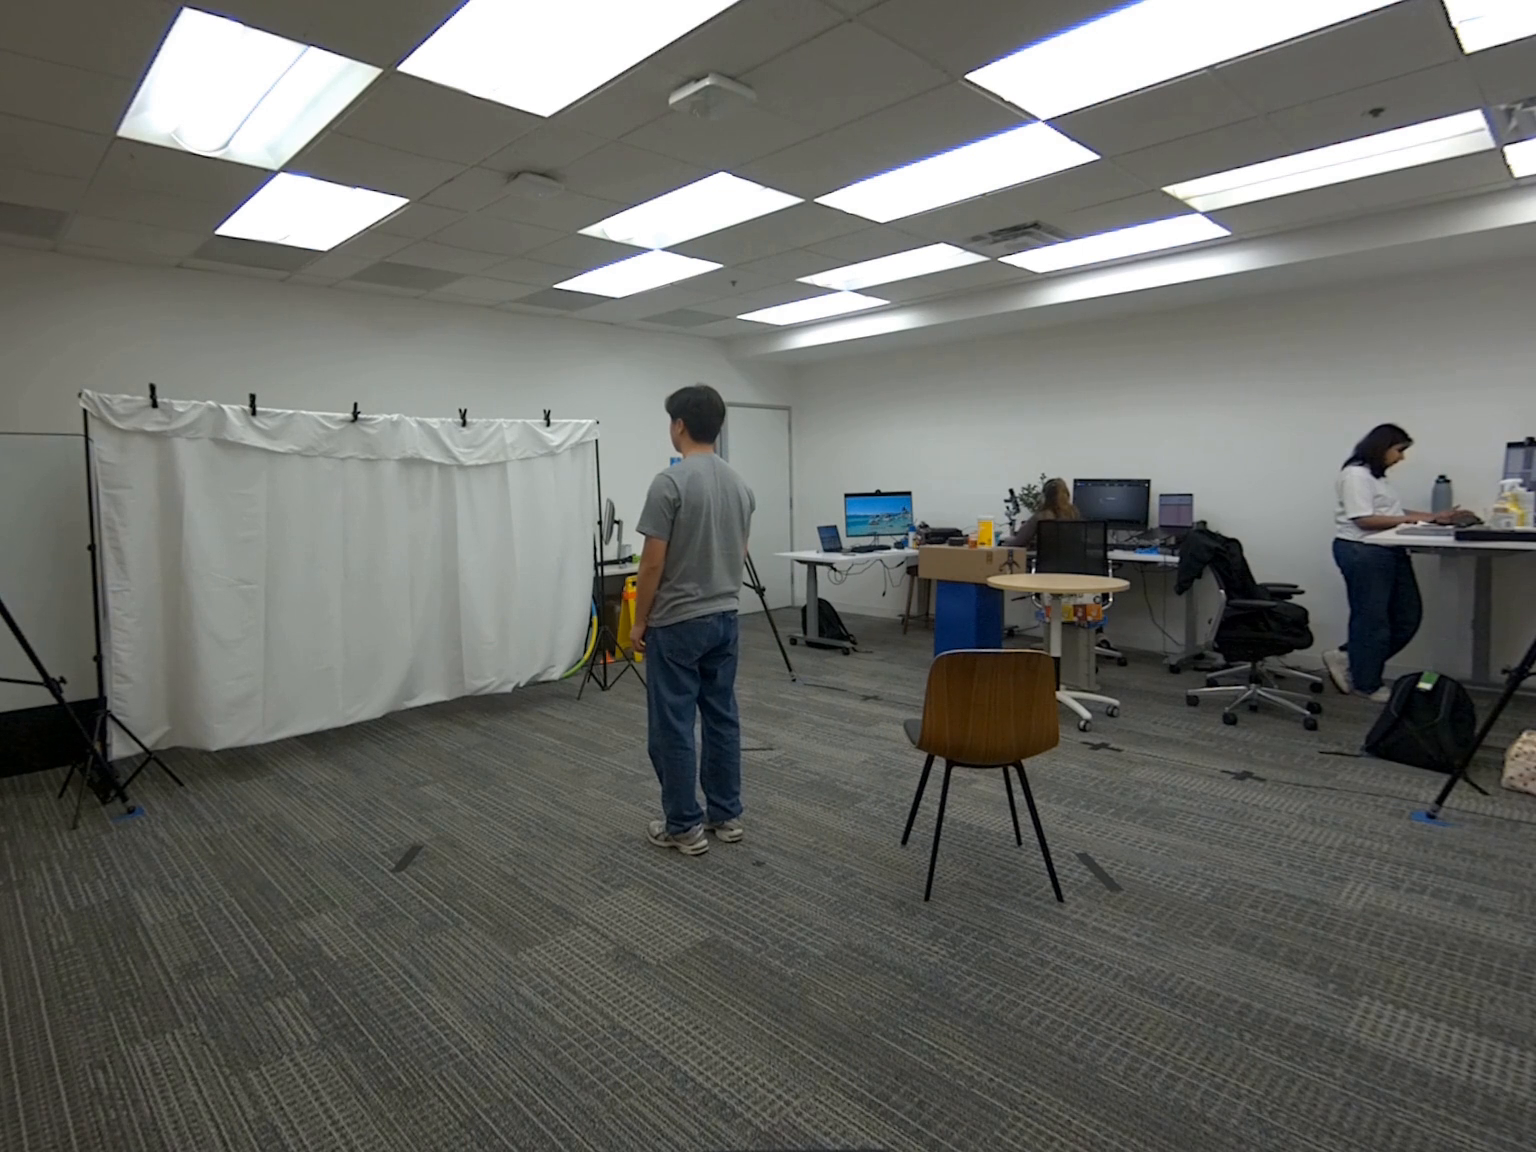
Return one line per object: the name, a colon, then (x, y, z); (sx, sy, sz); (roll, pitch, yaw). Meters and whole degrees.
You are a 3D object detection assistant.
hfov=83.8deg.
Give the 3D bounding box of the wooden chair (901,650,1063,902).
wooden chair: (0.734, 0.624, 2.987); (0.479, 0.871, 0.526); (-1, 8, 1)
